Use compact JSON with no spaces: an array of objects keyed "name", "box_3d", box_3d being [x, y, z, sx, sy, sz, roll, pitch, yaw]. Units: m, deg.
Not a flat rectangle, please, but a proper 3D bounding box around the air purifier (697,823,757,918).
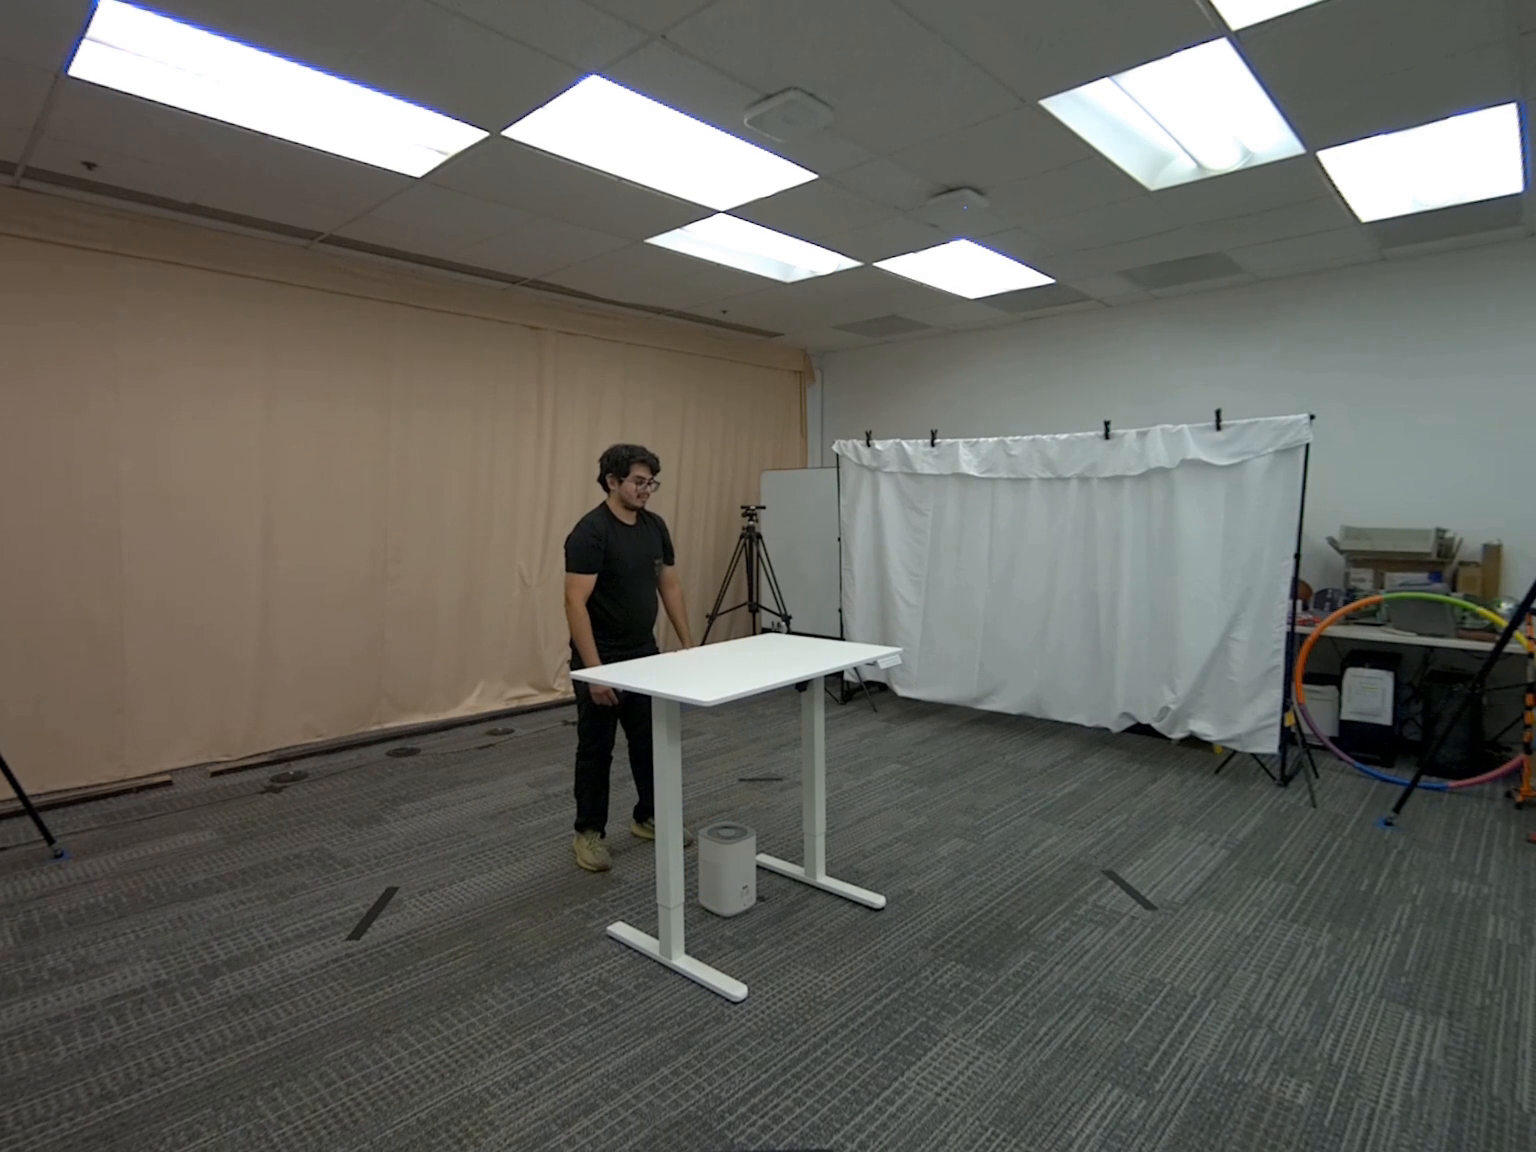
[{"name":"air purifier","box_3d":[-0.136,1.013,2.919,0.177,0.265,0.166,3,5,42]}]
